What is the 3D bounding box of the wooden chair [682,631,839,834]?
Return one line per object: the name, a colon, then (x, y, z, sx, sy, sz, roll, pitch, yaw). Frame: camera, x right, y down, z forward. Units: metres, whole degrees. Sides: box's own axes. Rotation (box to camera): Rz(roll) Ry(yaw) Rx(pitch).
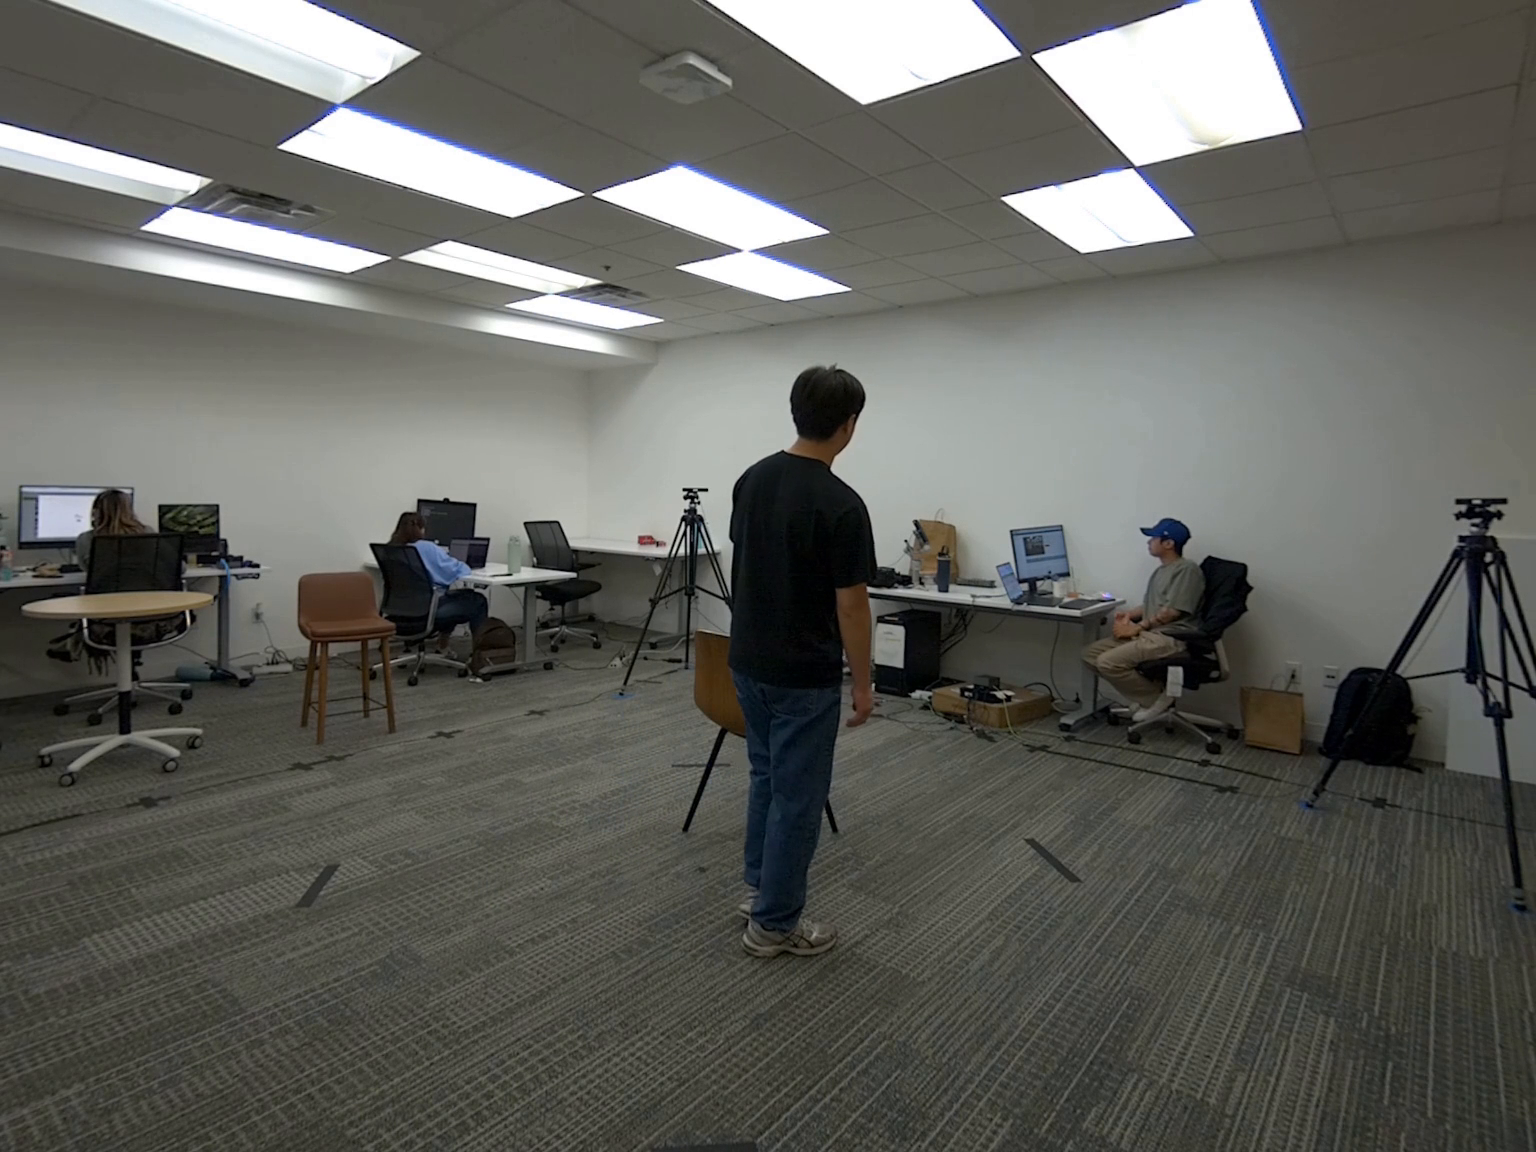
wooden chair: (-0.030, 0.613, 3.446, 0.494, 0.873, 0.509, 3, 7, 41)
